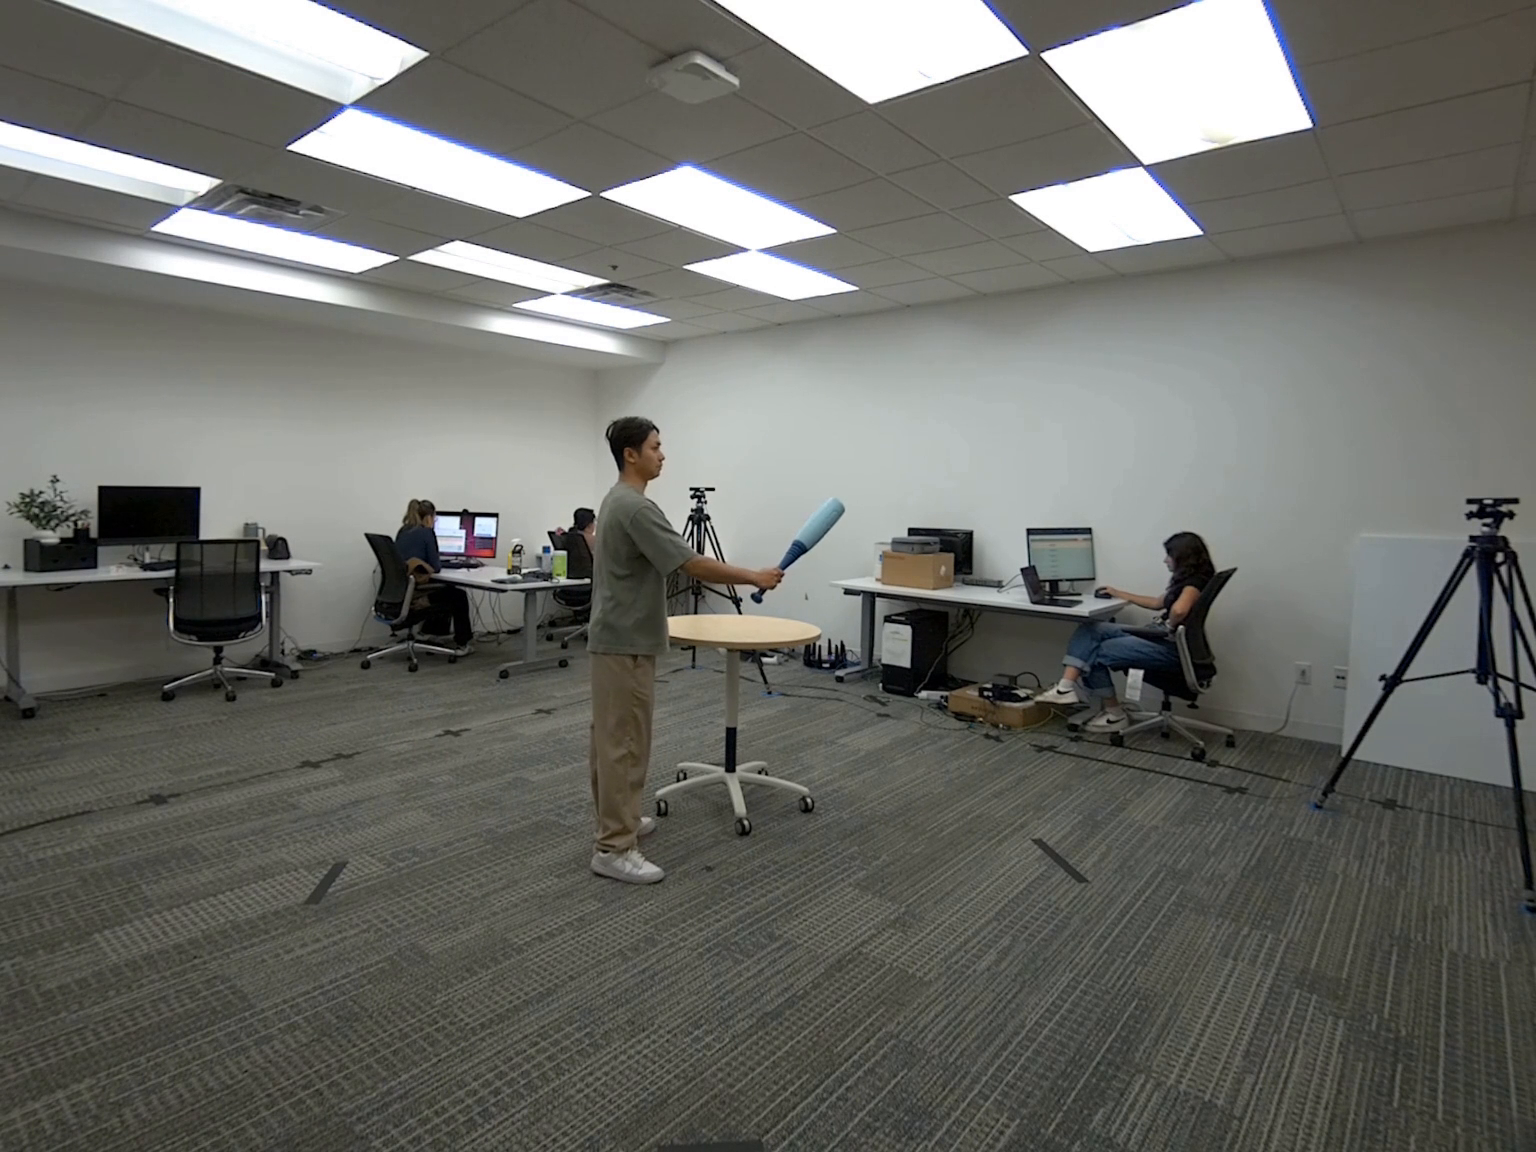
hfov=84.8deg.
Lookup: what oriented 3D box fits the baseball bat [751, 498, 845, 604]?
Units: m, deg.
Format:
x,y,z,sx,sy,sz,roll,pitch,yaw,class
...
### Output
x,y,z,sx,sy,sz,roll,pitch,yaw,class
0.100,-0.091,3.246,0.543,0.086,0.092,-49,28,-21,baseball bat
